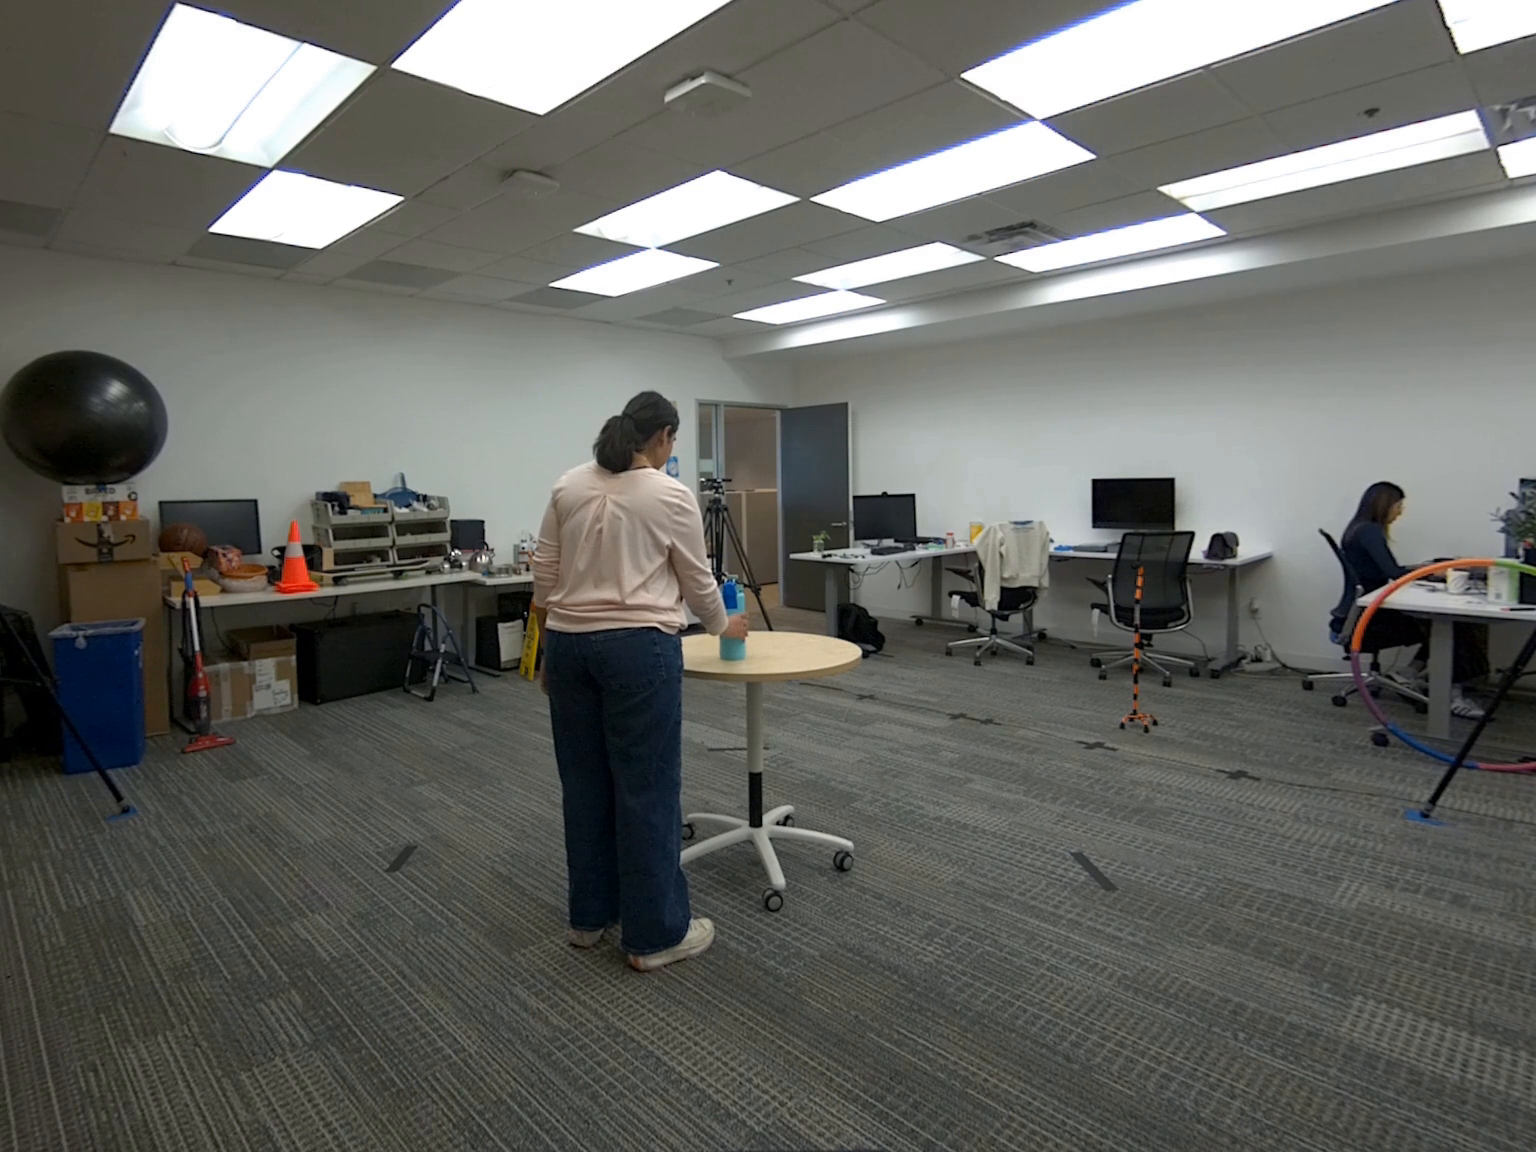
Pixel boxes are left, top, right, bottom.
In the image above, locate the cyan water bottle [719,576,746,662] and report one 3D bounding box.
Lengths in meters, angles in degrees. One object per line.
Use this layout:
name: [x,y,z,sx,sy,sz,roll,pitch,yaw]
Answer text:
cyan water bottle: [-0.118,0.143,2.918,0.092,0.283,0.092,-1,2,-2]
